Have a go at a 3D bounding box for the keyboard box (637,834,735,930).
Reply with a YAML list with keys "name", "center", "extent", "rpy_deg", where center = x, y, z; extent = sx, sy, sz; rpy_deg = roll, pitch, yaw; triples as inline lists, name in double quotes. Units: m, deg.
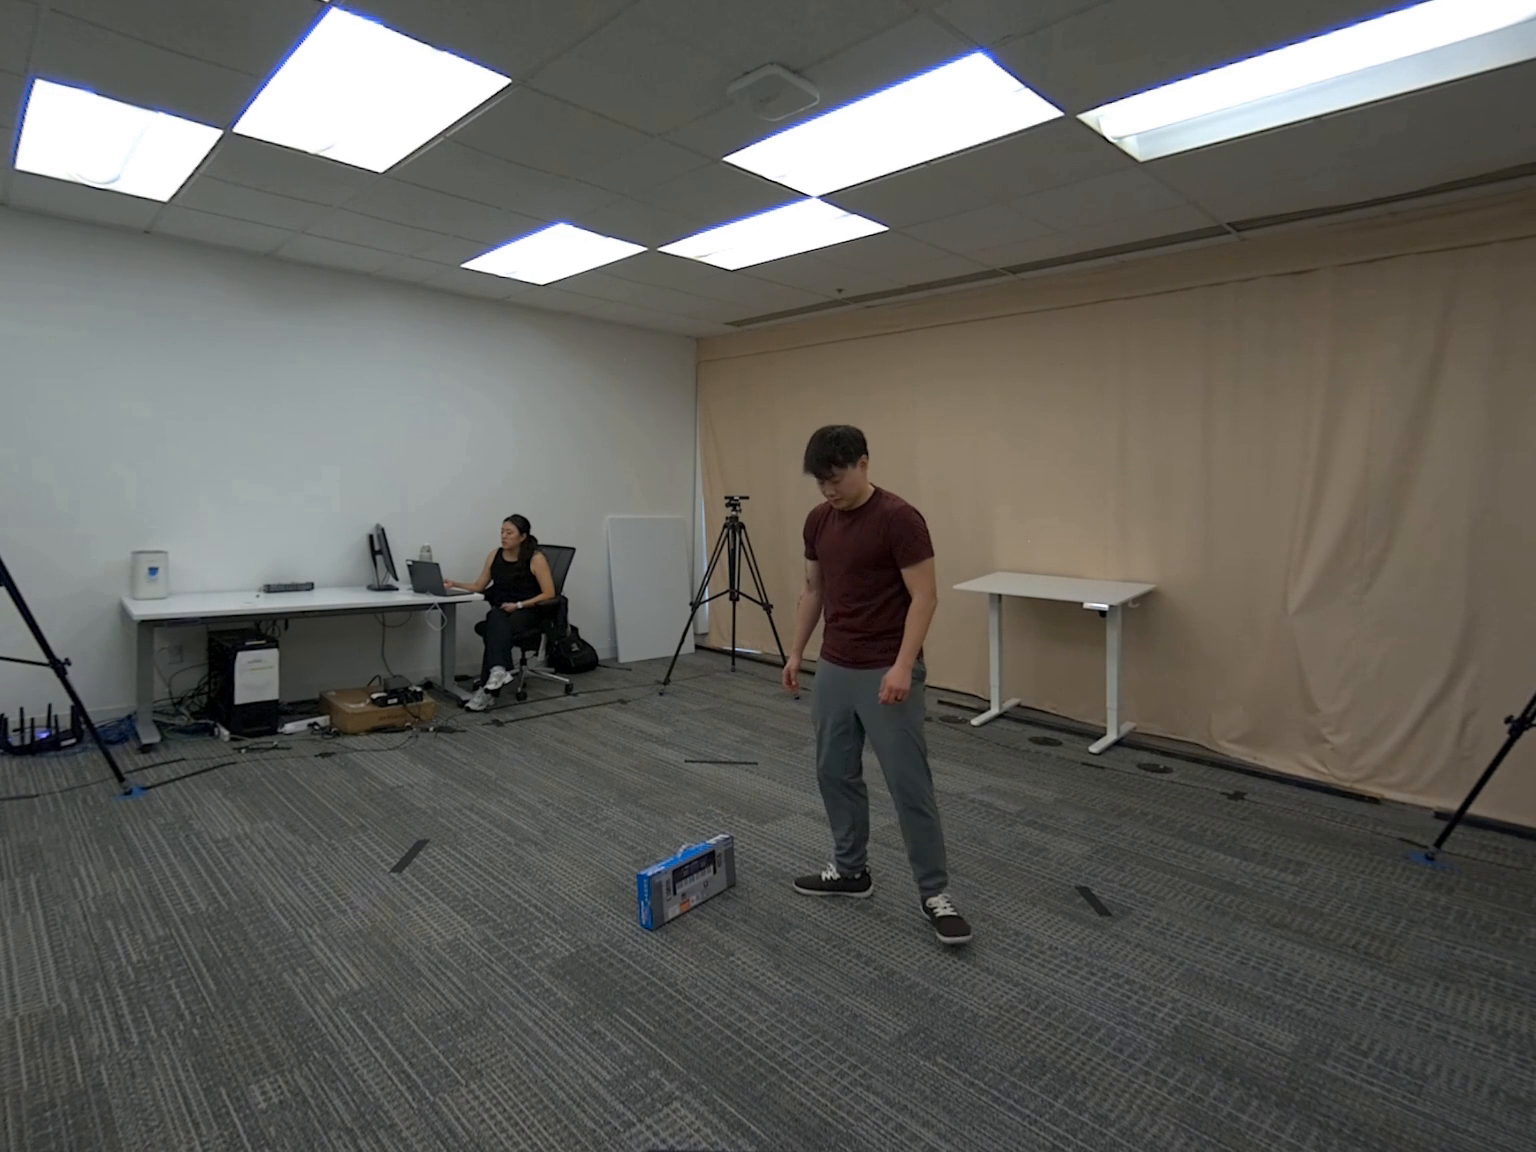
- name: "keyboard box"
  center: [-0.275, 1.034, 2.878]
  extent: [0.060, 0.176, 0.427]
  rpy_deg: [-6, -1, 38]
